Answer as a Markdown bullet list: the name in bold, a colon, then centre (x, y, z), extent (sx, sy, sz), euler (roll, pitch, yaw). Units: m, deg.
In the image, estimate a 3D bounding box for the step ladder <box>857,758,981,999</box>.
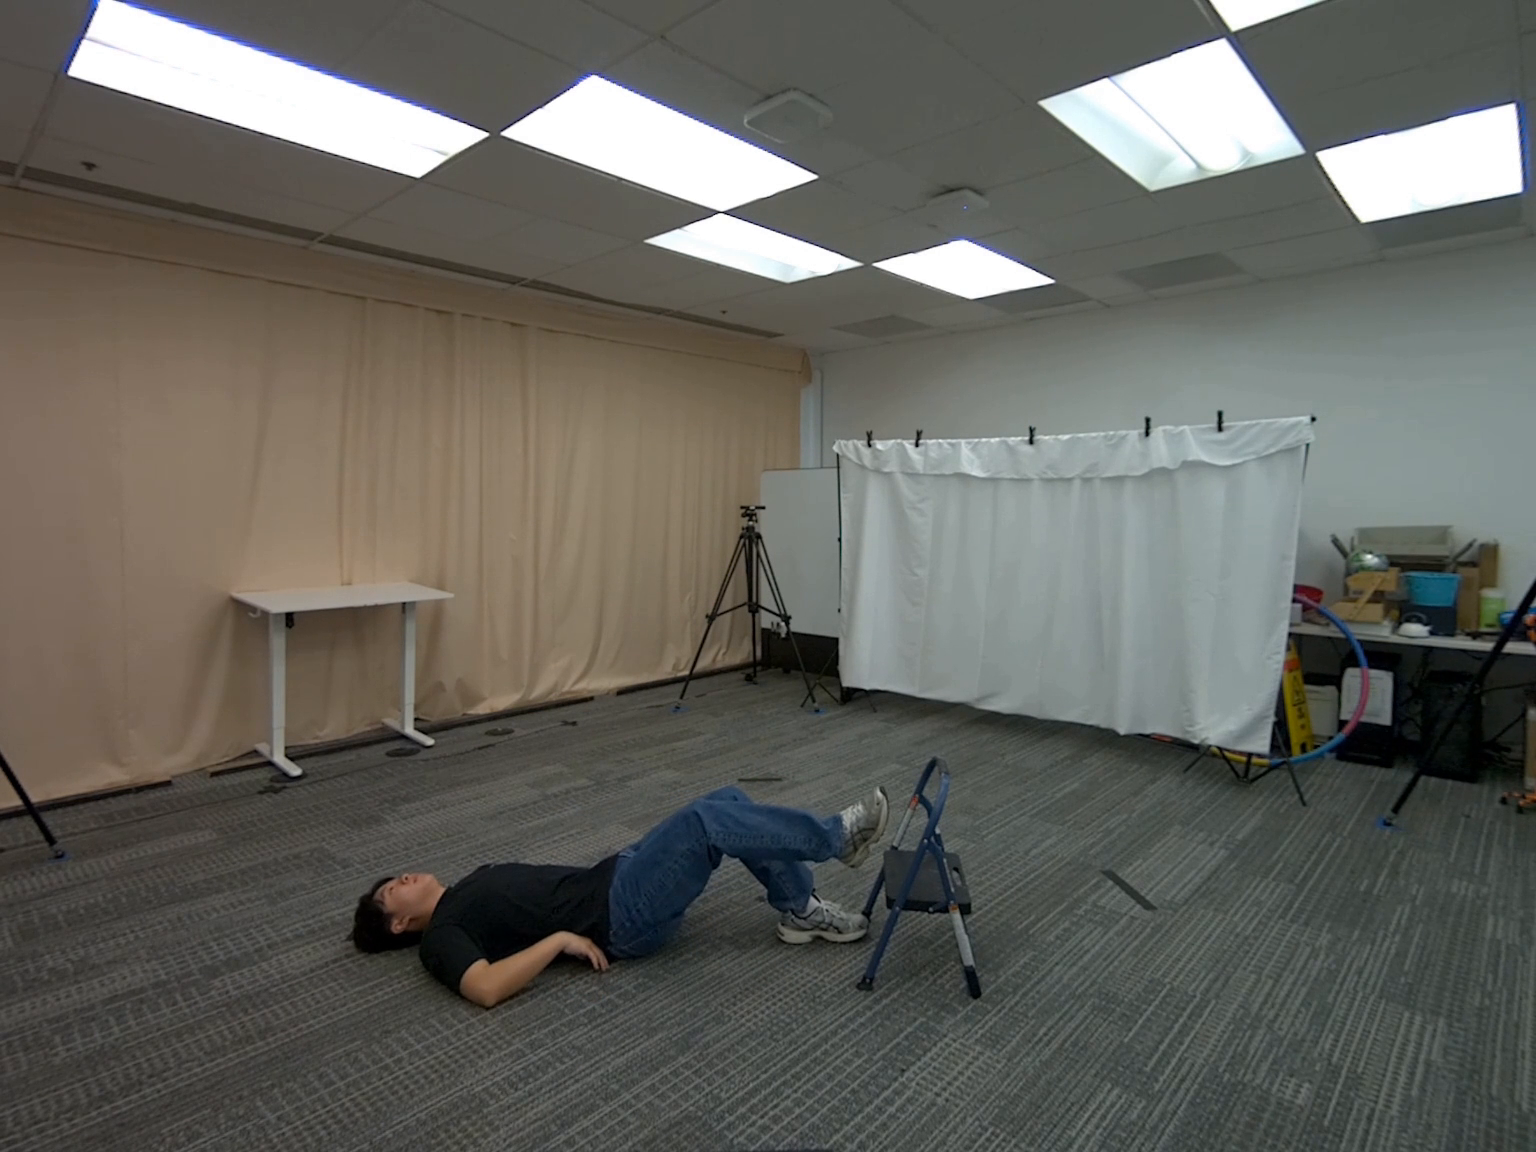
- **step ladder**: centre (0.457, 0.873, 2.584), extent (0.352, 0.604, 0.429), euler (0, 4, 5)
